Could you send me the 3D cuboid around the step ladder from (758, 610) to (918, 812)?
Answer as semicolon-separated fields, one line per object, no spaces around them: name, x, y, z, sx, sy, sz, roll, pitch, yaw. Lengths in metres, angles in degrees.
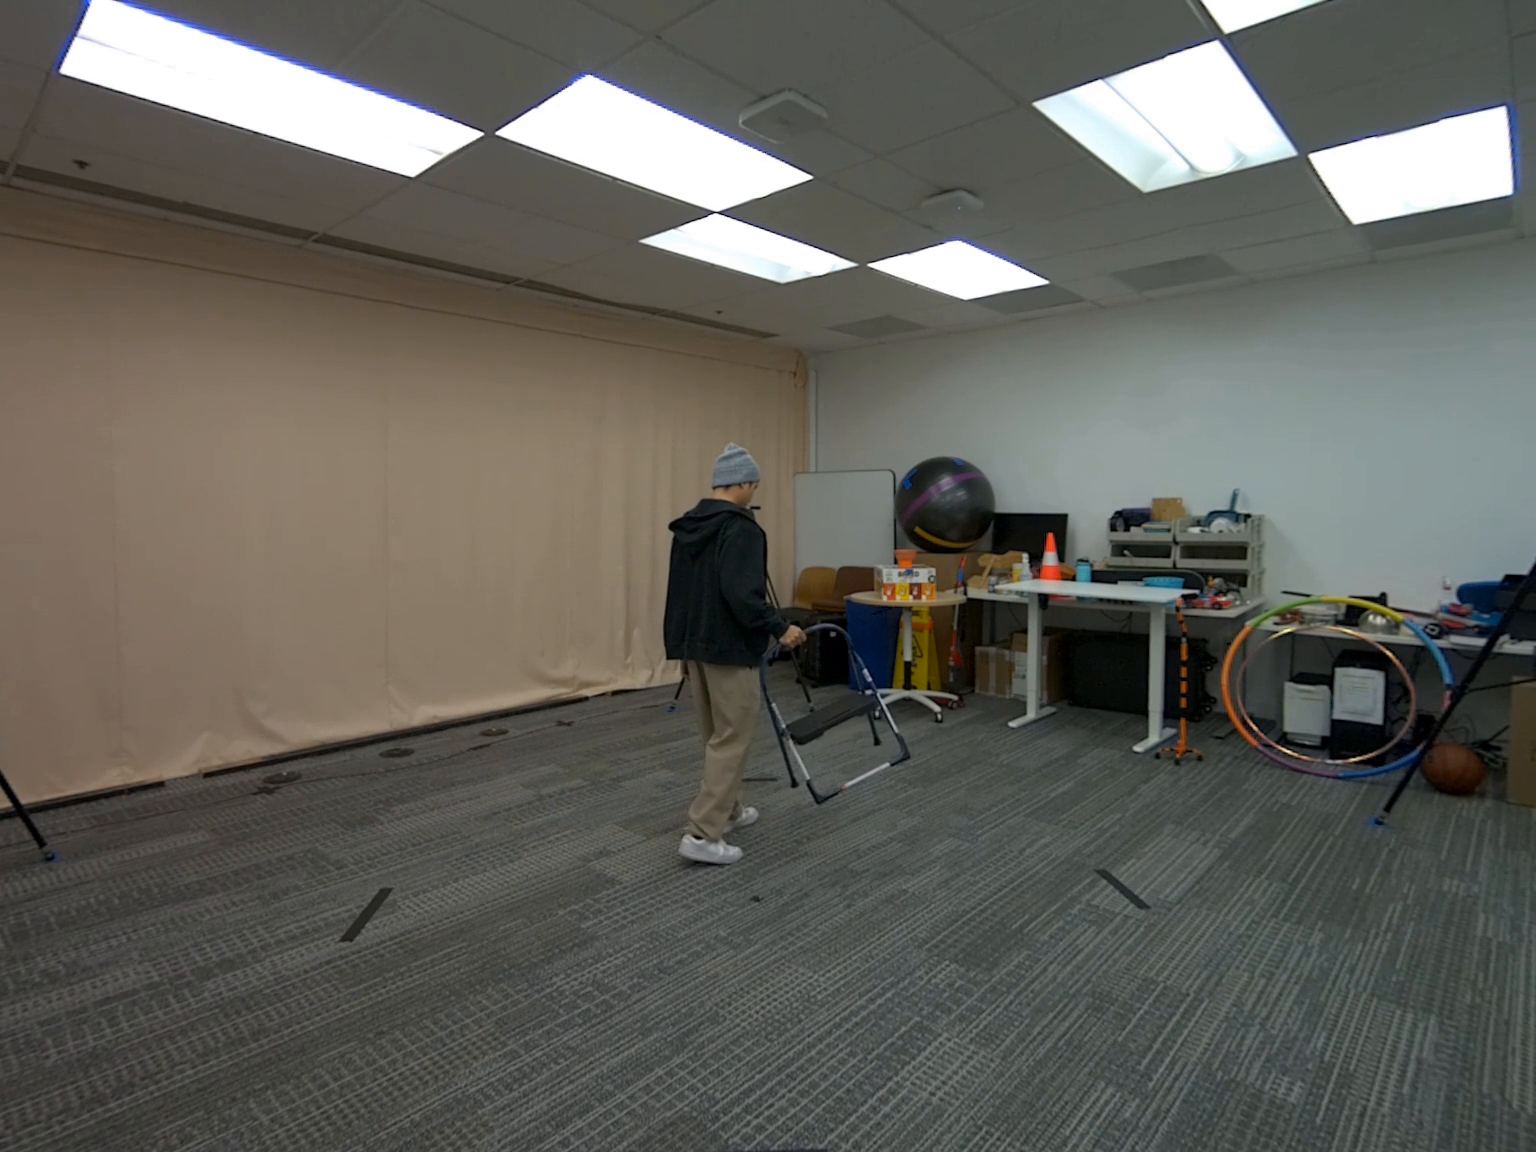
step ladder;0.214;0.506;3.334;0.426;0.604;0.354;-23;3;-13
